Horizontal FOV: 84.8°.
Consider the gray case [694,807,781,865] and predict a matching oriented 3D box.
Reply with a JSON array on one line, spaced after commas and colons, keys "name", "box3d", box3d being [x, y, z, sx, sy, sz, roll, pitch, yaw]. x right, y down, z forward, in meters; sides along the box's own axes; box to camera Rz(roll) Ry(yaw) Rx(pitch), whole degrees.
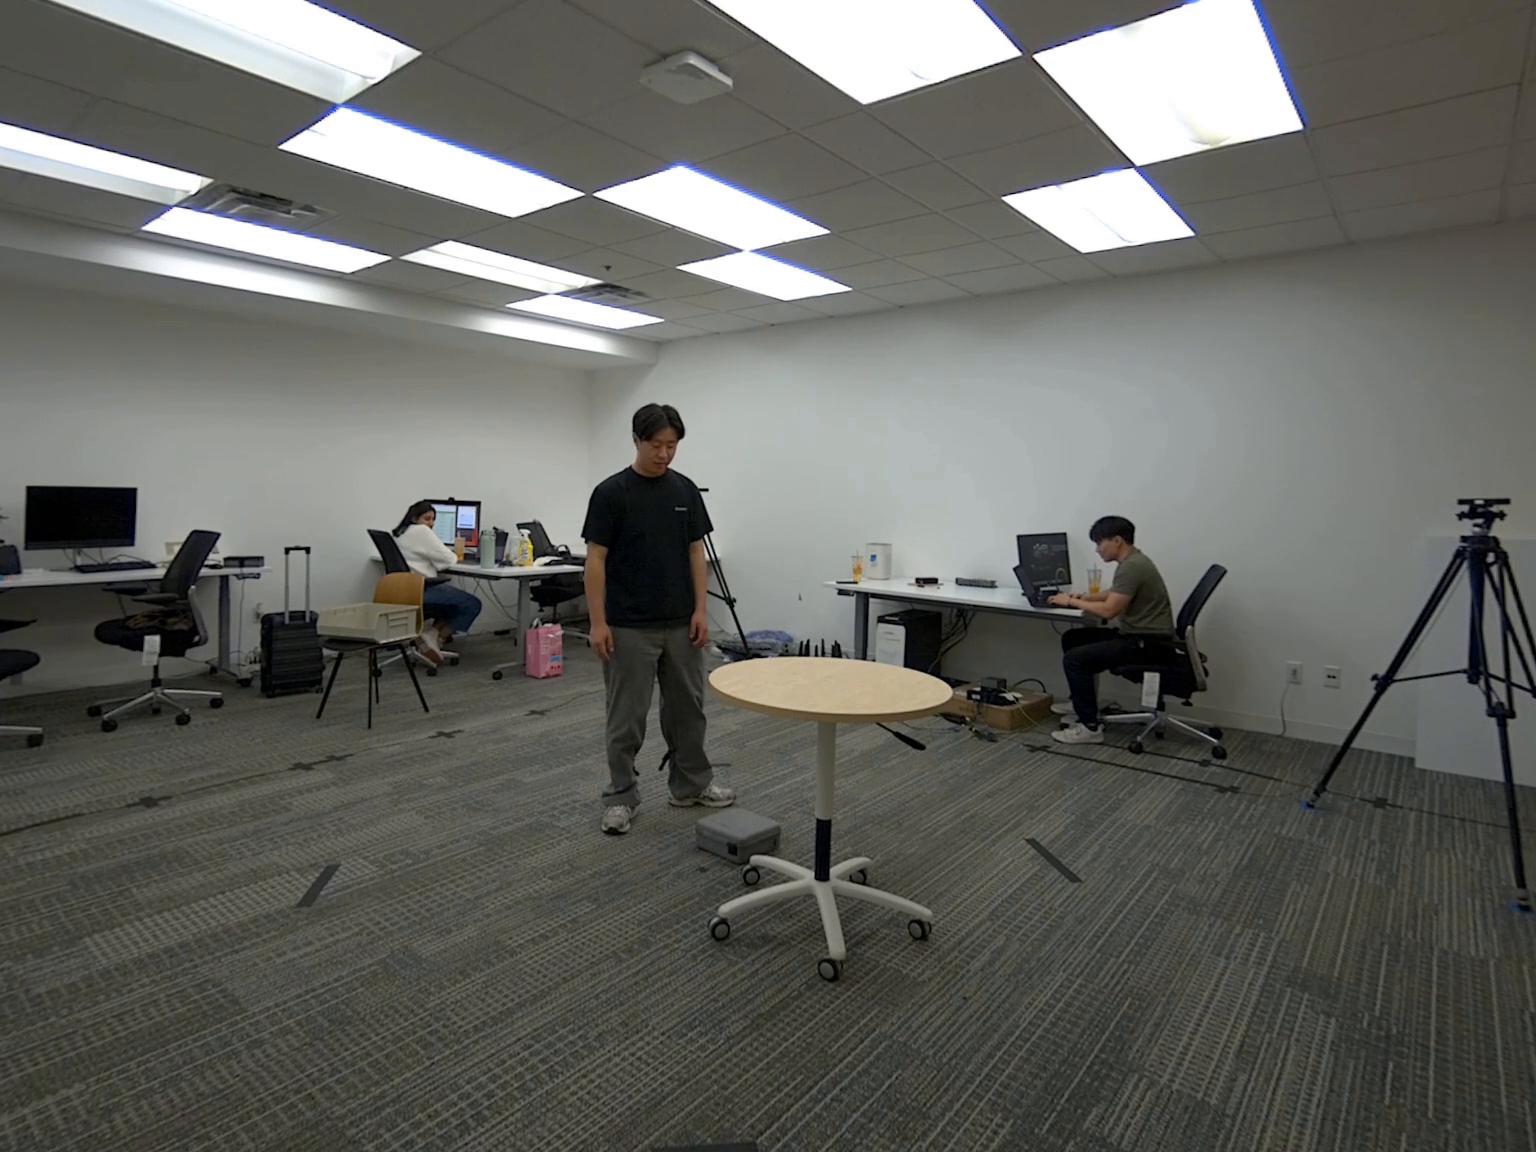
[{"name": "gray case", "box3d": [-0.119, 0.997, 3.311, 0.272, 0.103, 0.278, 6, 6, 41]}]
